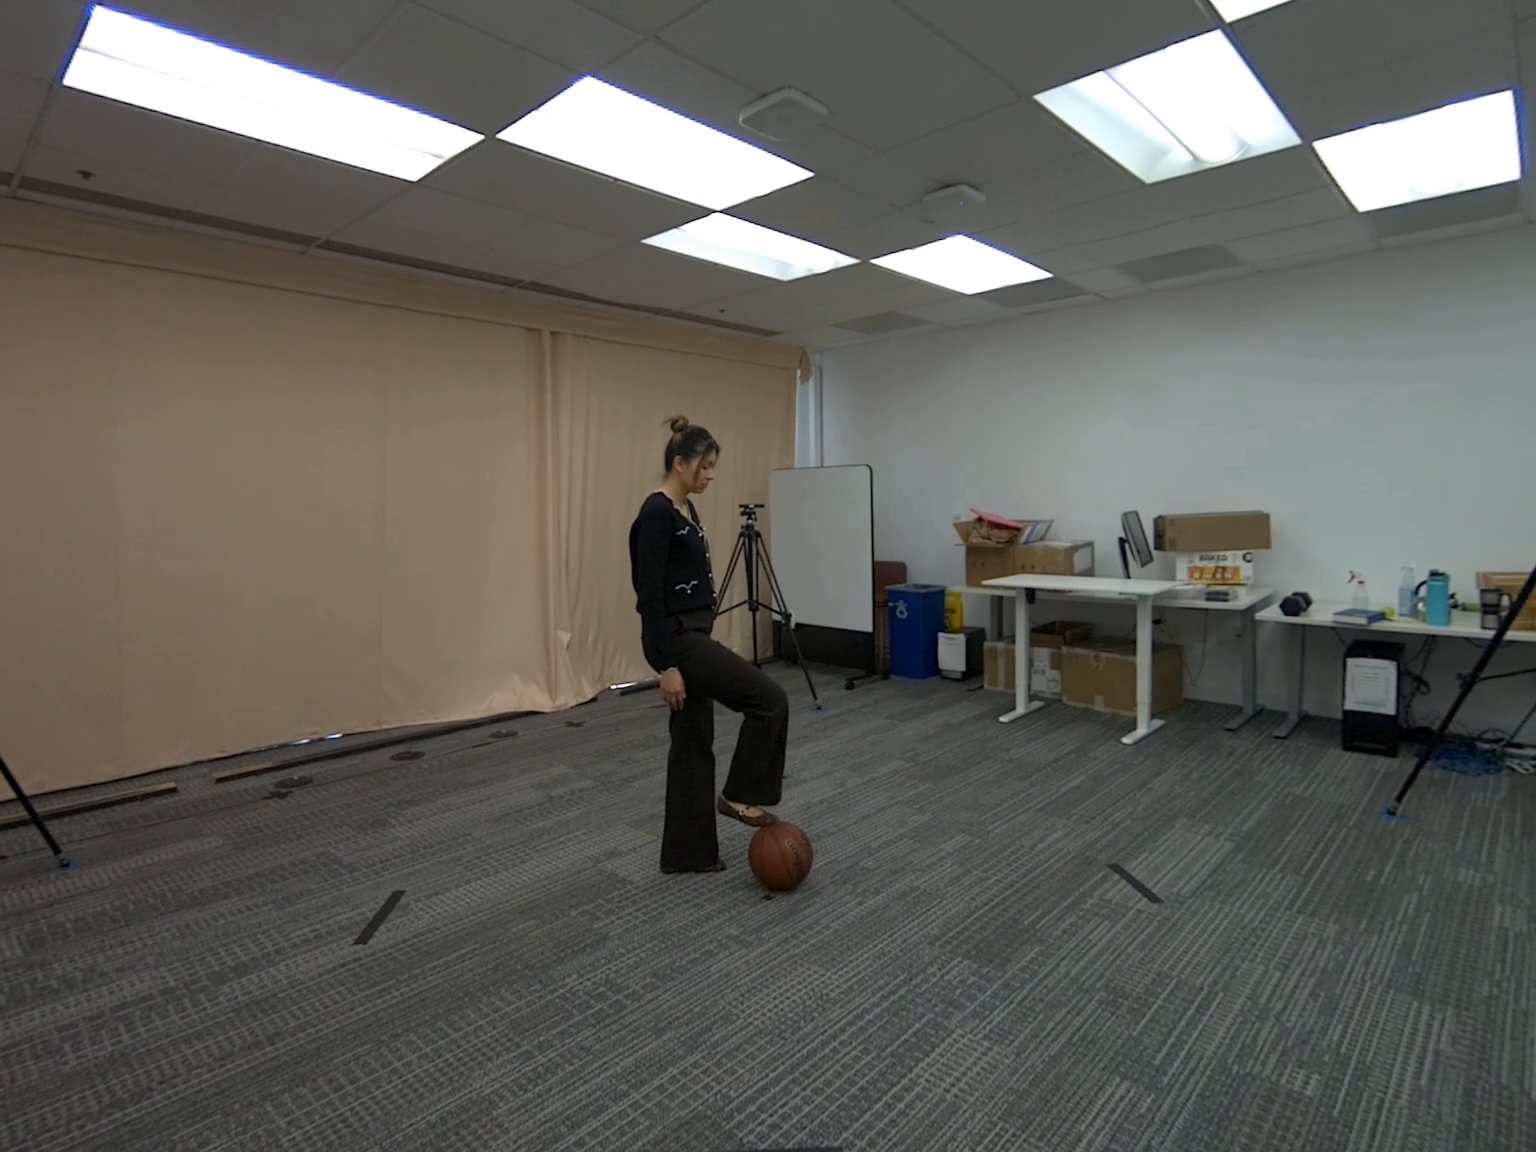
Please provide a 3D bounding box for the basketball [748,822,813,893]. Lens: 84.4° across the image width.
[{"bbox_3d":[0.051,1.016,3.065,0.236,0.235,0.237,-1,4,-2],"label":"basketball"}]
